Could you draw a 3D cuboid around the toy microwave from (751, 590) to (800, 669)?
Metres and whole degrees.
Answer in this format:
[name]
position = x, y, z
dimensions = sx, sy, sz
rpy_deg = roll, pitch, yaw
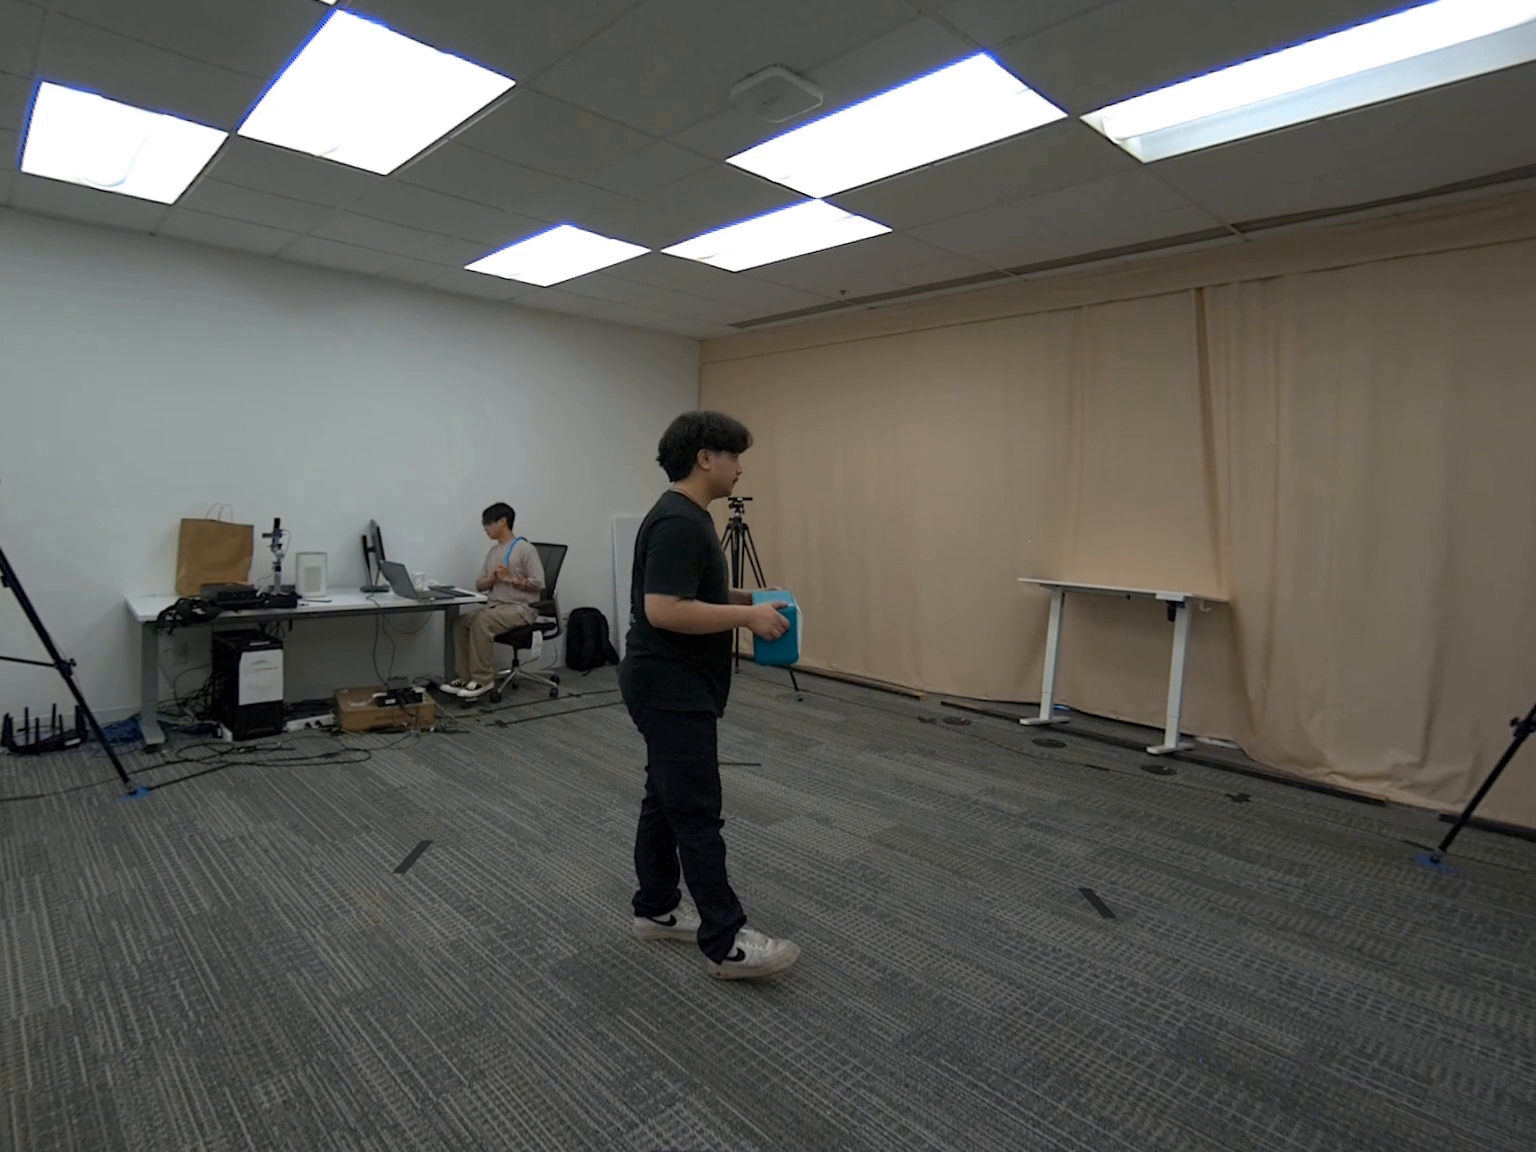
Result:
[toy microwave]
position = 0.025, 0.154, 2.564
dimensions = 0.152, 0.183, 0.288
rpy_deg = -2, 7, -3
